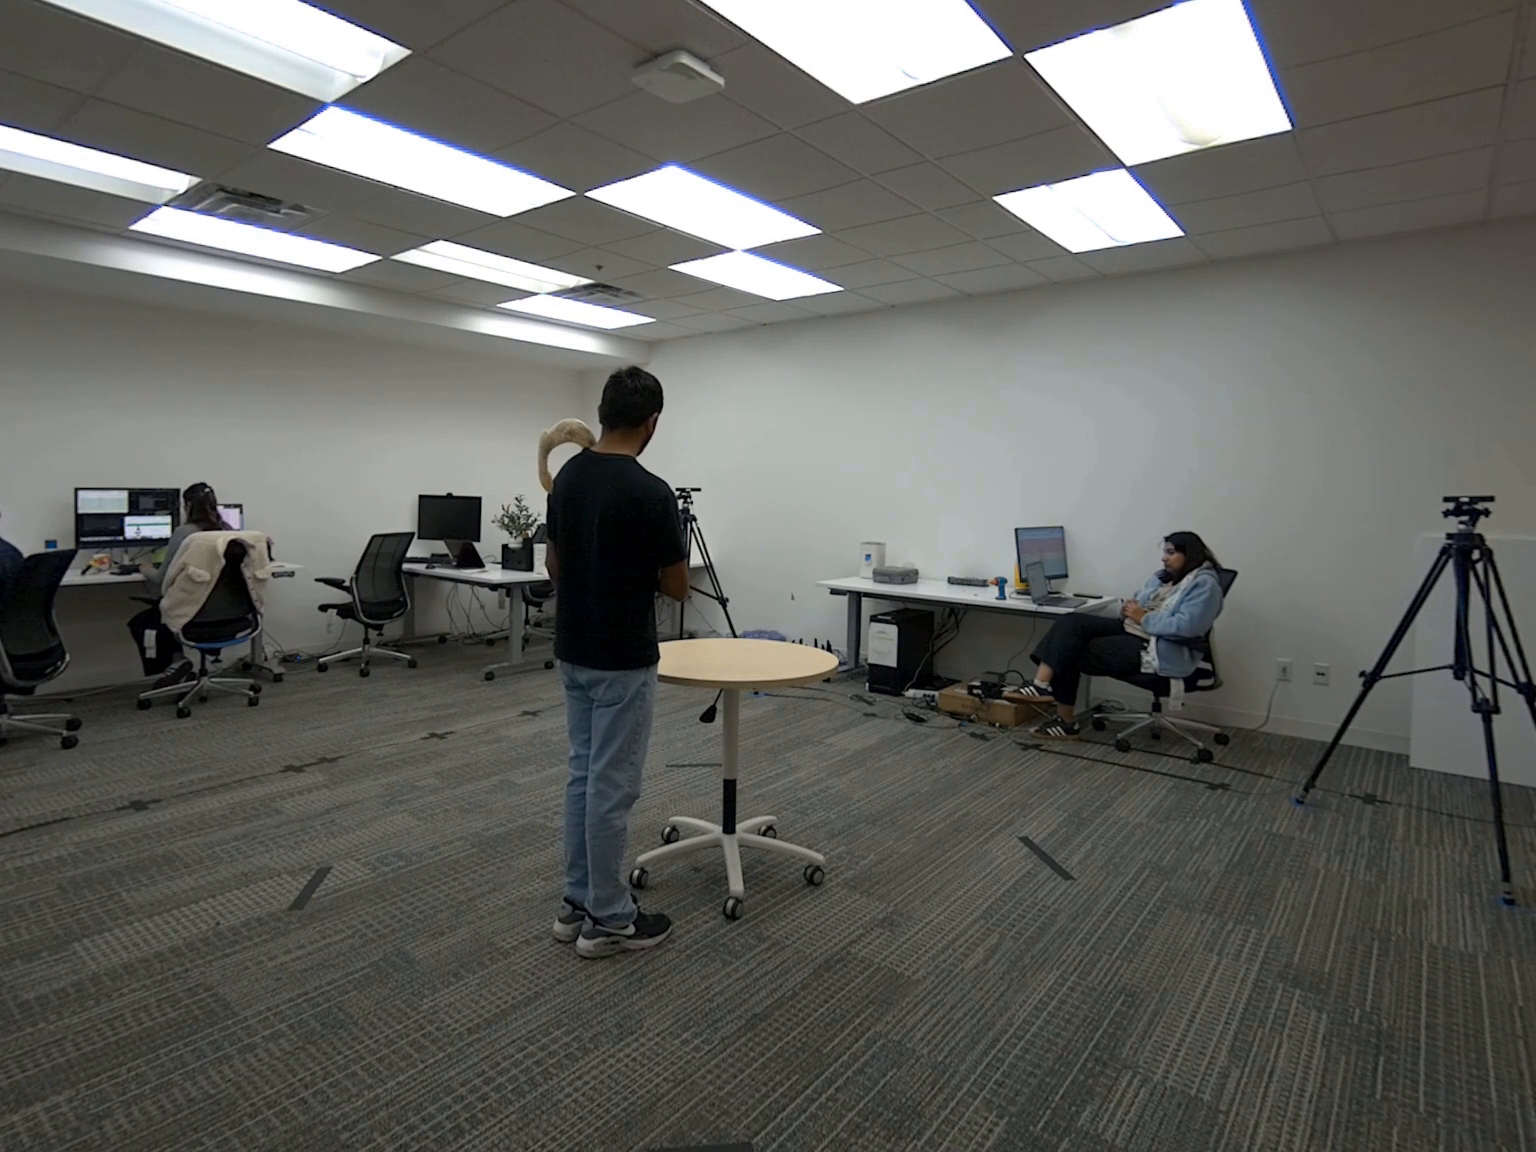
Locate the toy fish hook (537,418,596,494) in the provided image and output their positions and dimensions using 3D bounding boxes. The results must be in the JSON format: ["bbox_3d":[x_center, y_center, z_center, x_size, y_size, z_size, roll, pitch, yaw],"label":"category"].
[{"bbox_3d":[-0.596,-0.240,2.652,0.221,0.494,0.050,-26,27,-29],"label":"toy fish hook"}]
